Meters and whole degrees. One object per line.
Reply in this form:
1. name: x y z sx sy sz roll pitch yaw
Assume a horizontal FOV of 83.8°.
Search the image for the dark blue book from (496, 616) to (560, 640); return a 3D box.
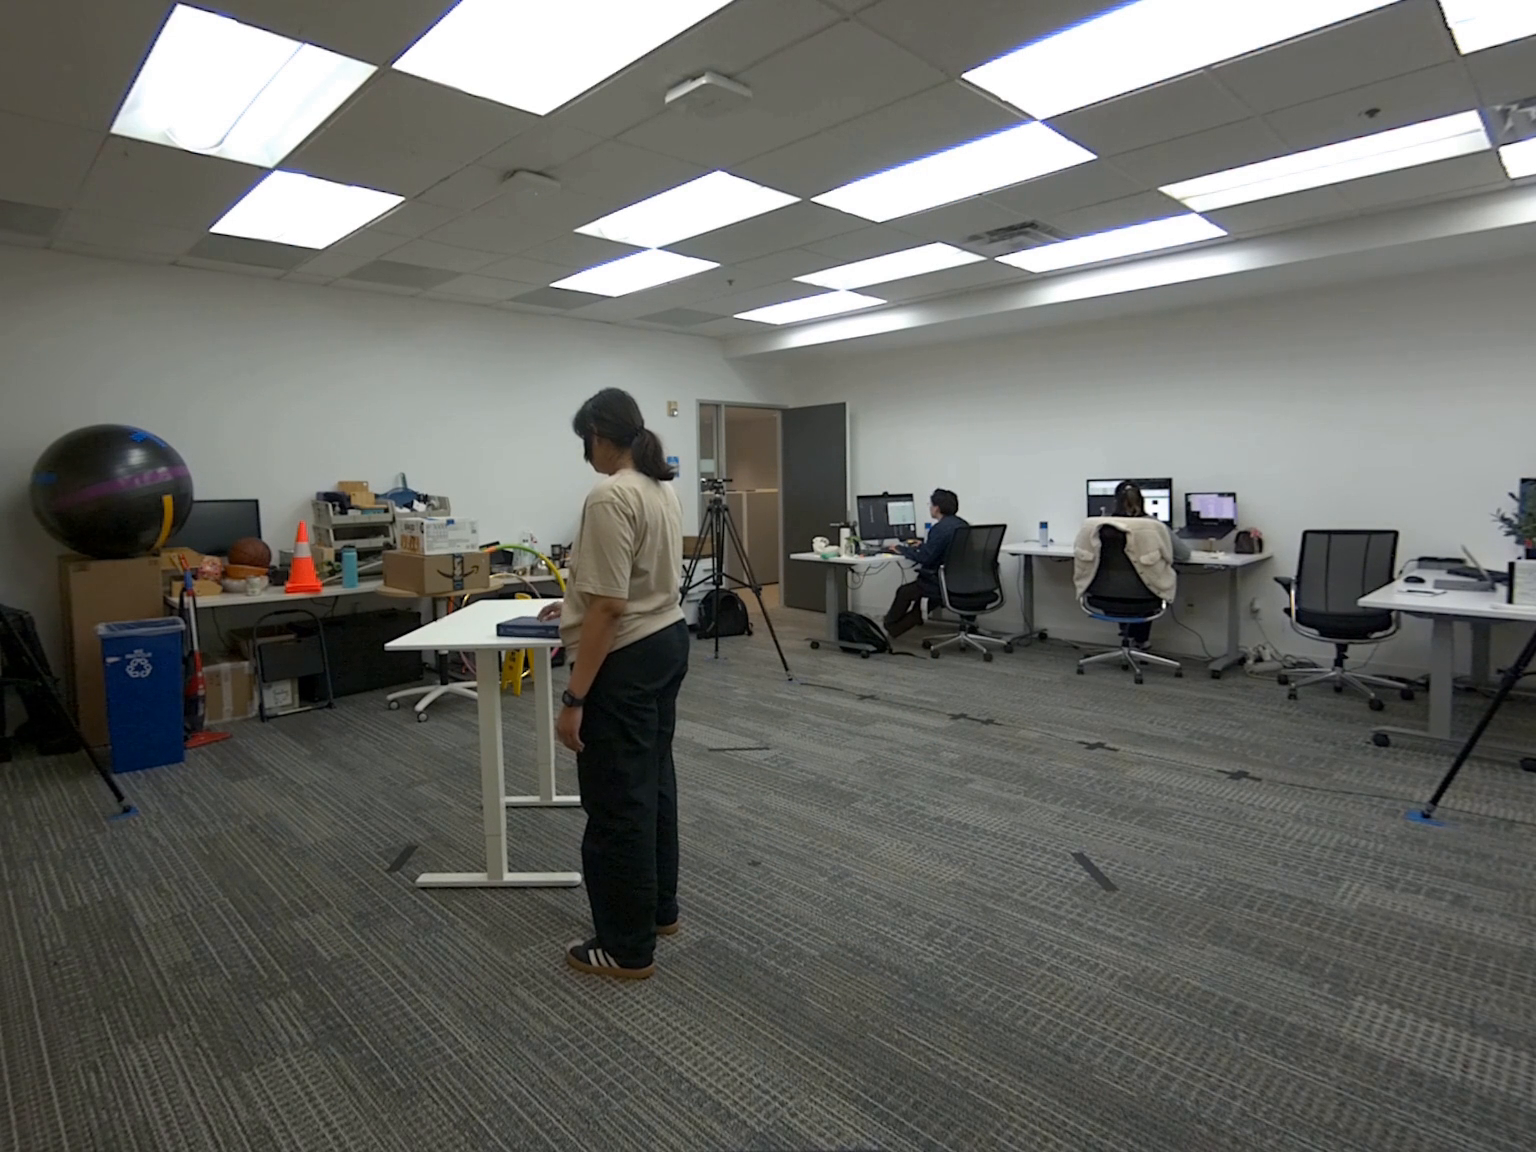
1. dark blue book: -0.799 0.177 2.940 0.248 0.045 0.162 0 7 13
